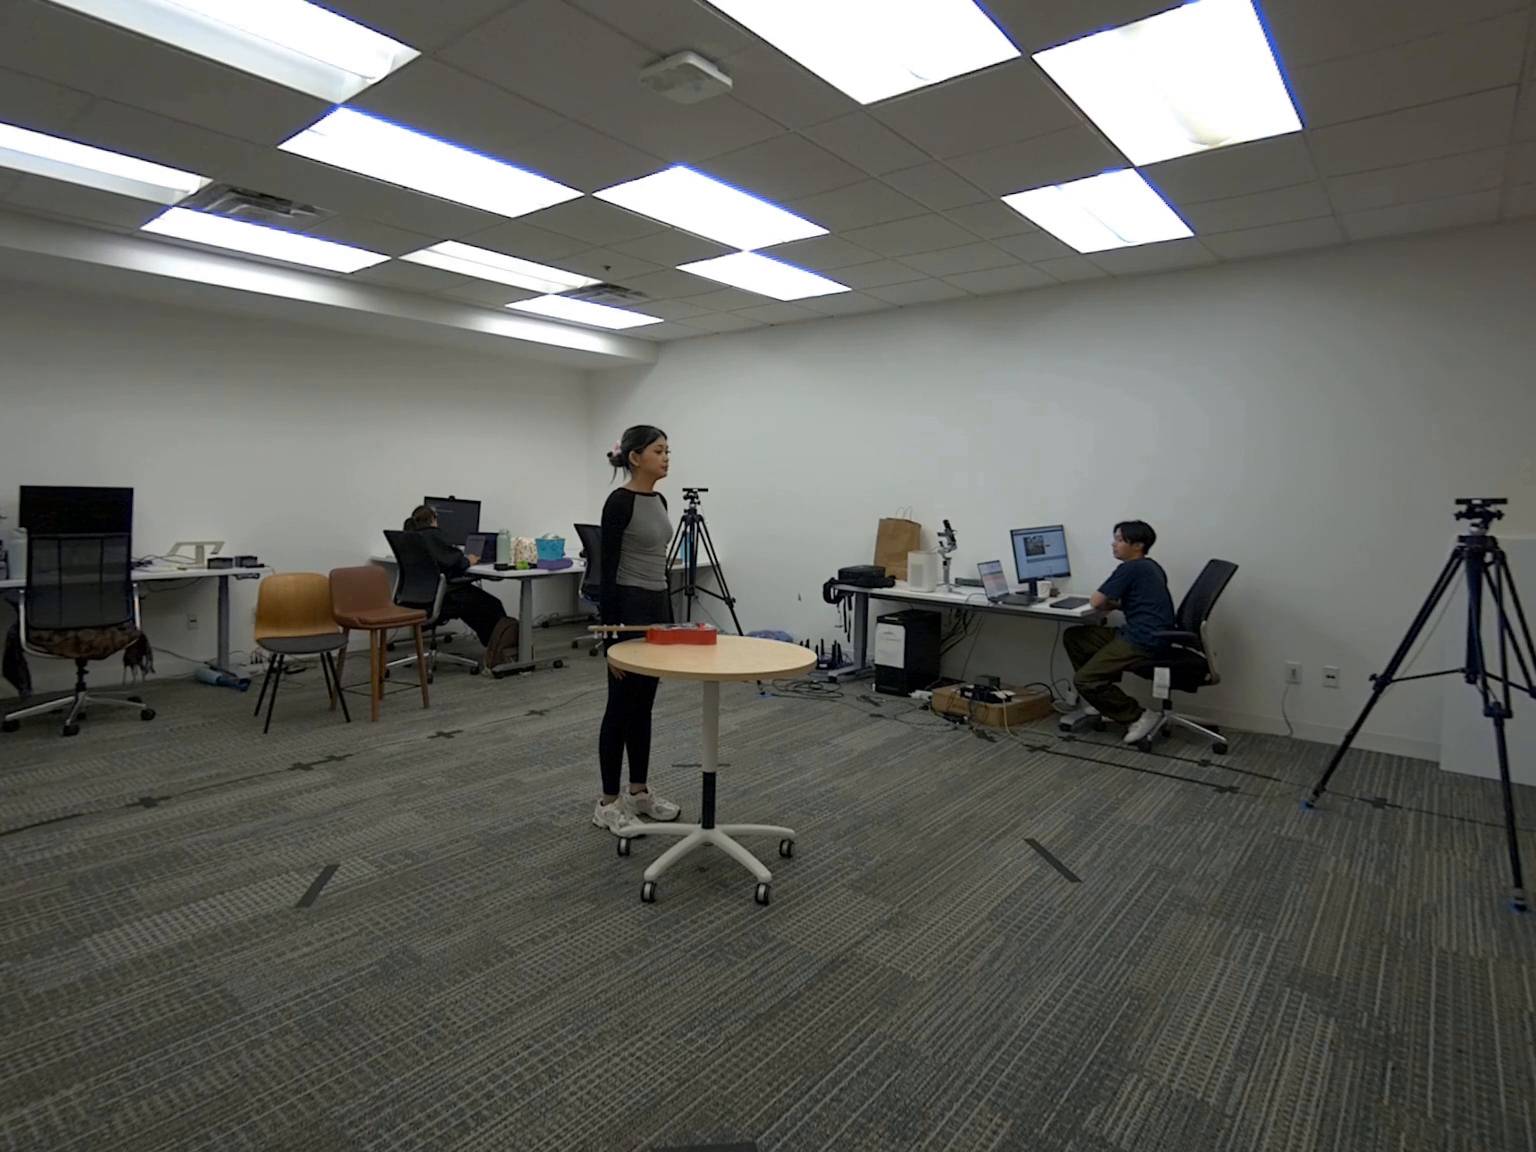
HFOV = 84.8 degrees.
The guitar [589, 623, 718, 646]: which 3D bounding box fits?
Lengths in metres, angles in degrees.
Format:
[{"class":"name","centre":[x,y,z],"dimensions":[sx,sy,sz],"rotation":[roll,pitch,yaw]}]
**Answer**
[{"class":"guitar","centre":[-0.462,0.217,3.314],"dimensions":[0.492,0.070,0.196],"rotation":[1,5,-10]}]
